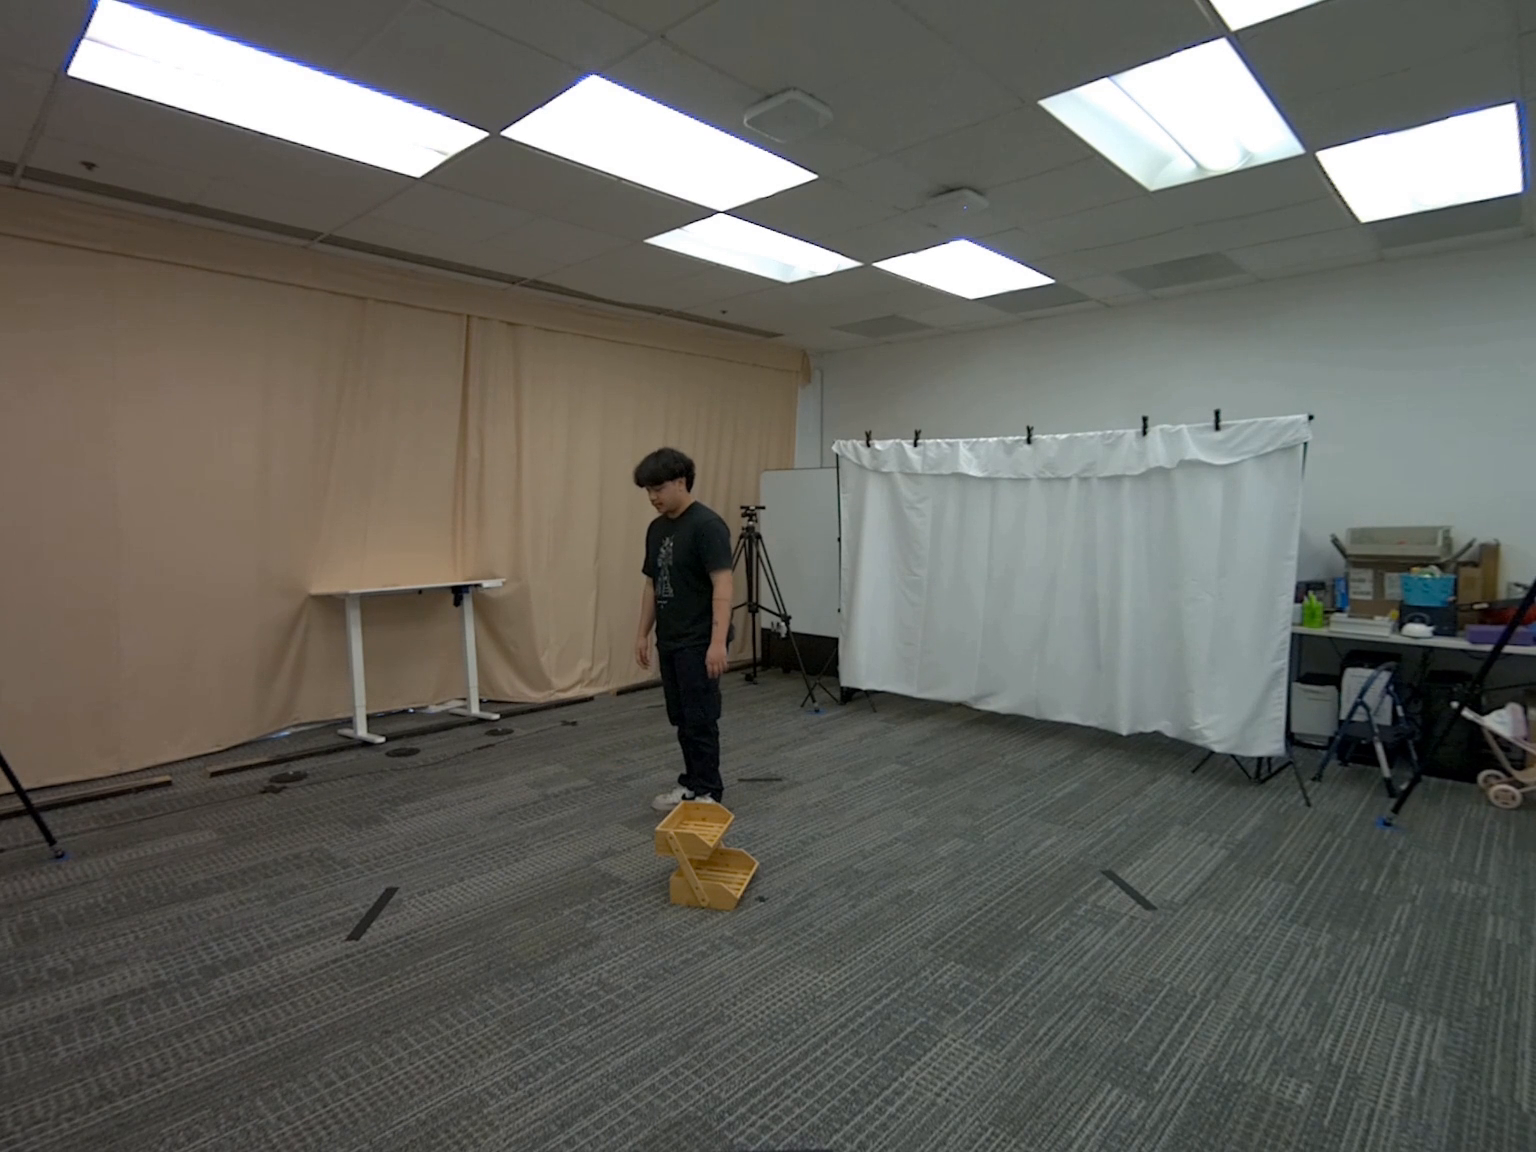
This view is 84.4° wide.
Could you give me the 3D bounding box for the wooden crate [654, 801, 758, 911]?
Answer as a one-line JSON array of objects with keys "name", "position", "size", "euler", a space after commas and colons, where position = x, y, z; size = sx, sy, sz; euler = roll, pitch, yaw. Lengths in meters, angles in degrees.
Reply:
[{"name": "wooden crate", "position": [-0.207, 1.006, 3.064], "size": [0.307, 0.273, 0.320], "euler": [0, 4, 14]}]
